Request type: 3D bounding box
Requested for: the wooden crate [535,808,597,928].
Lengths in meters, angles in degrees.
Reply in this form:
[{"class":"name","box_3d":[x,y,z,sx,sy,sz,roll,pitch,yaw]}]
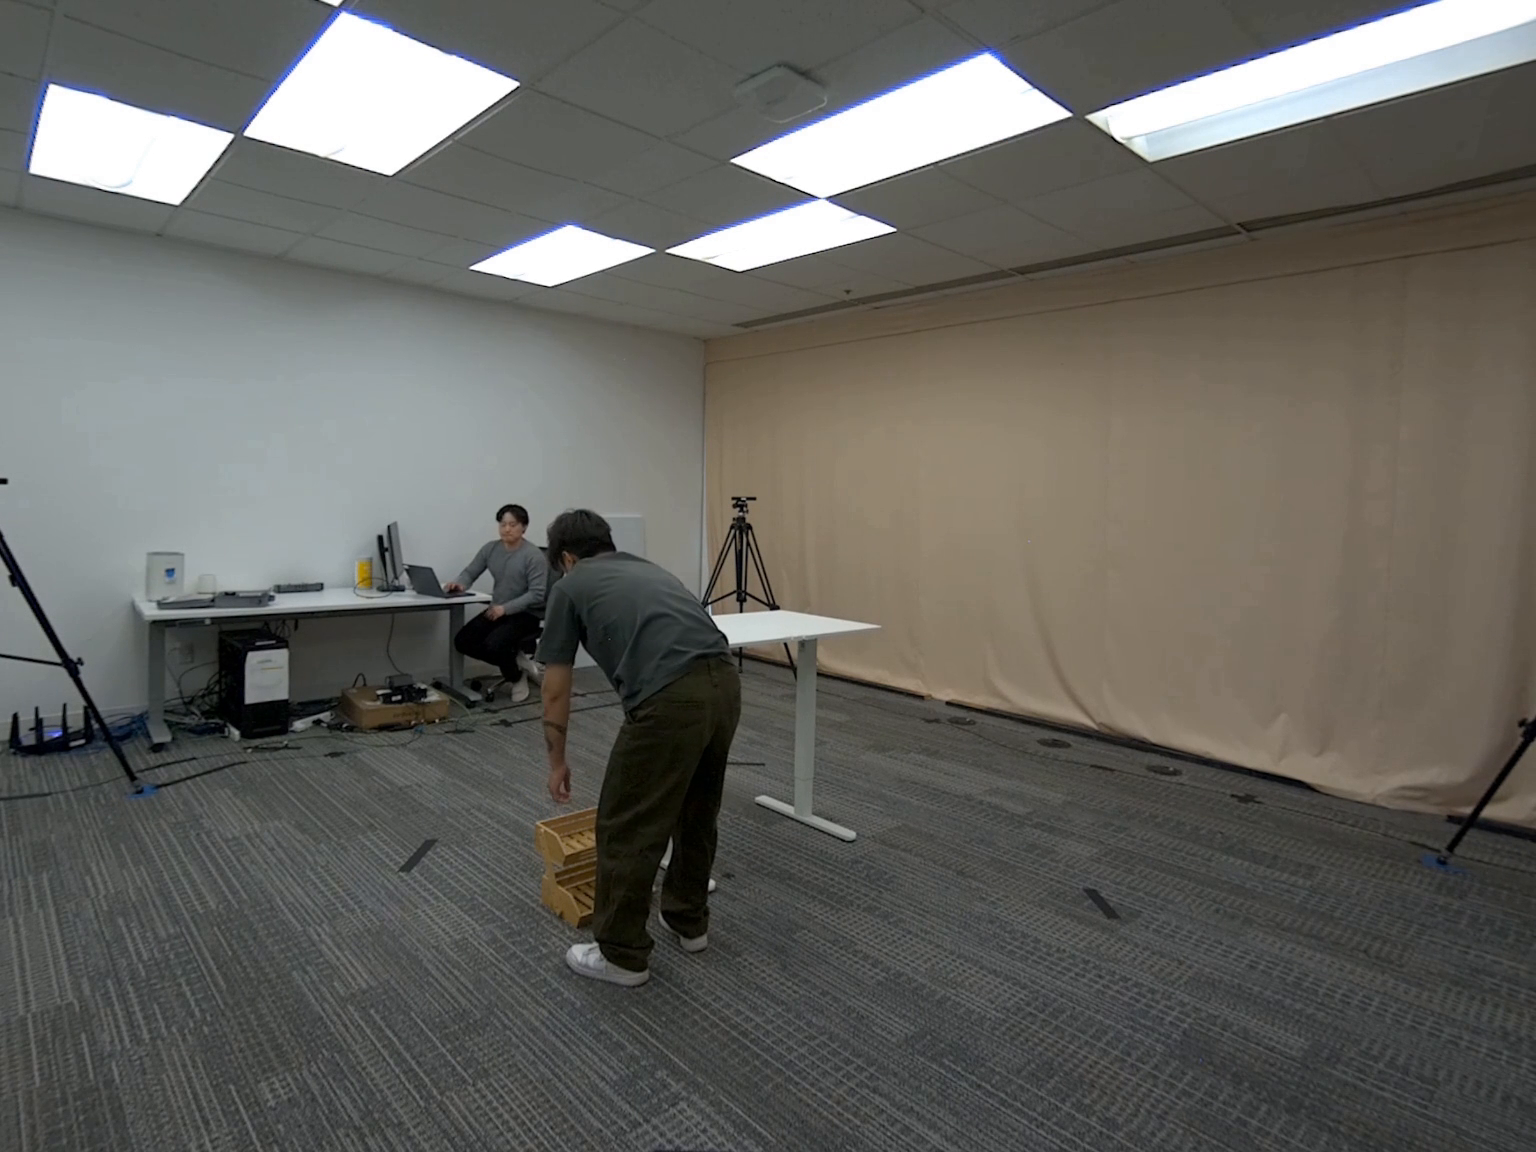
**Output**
[{"class":"wooden crate","box_3d":[-0.597,0.981,2.884,0.317,0.272,0.310,-3,6,-42]}]
